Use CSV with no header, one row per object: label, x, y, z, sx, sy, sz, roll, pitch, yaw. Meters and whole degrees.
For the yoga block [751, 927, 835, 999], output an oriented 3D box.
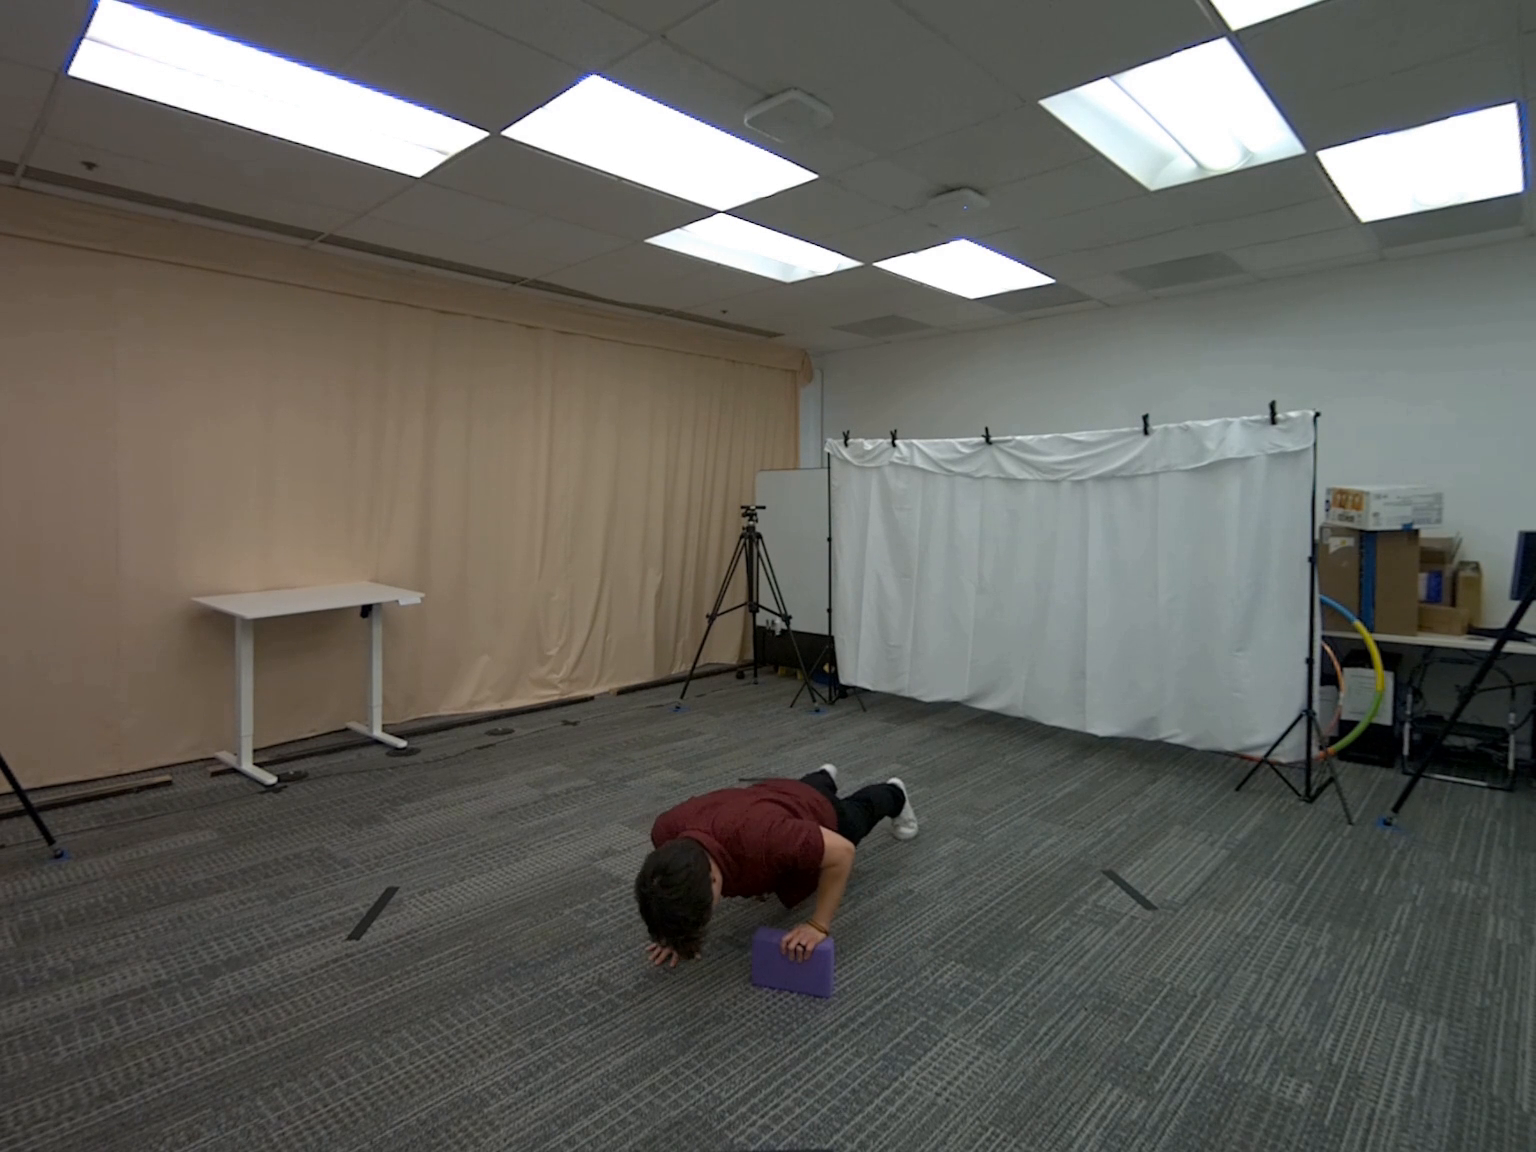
yoga block,0.074,1.105,2.447,0.233,0.149,0.075,1,1,16
